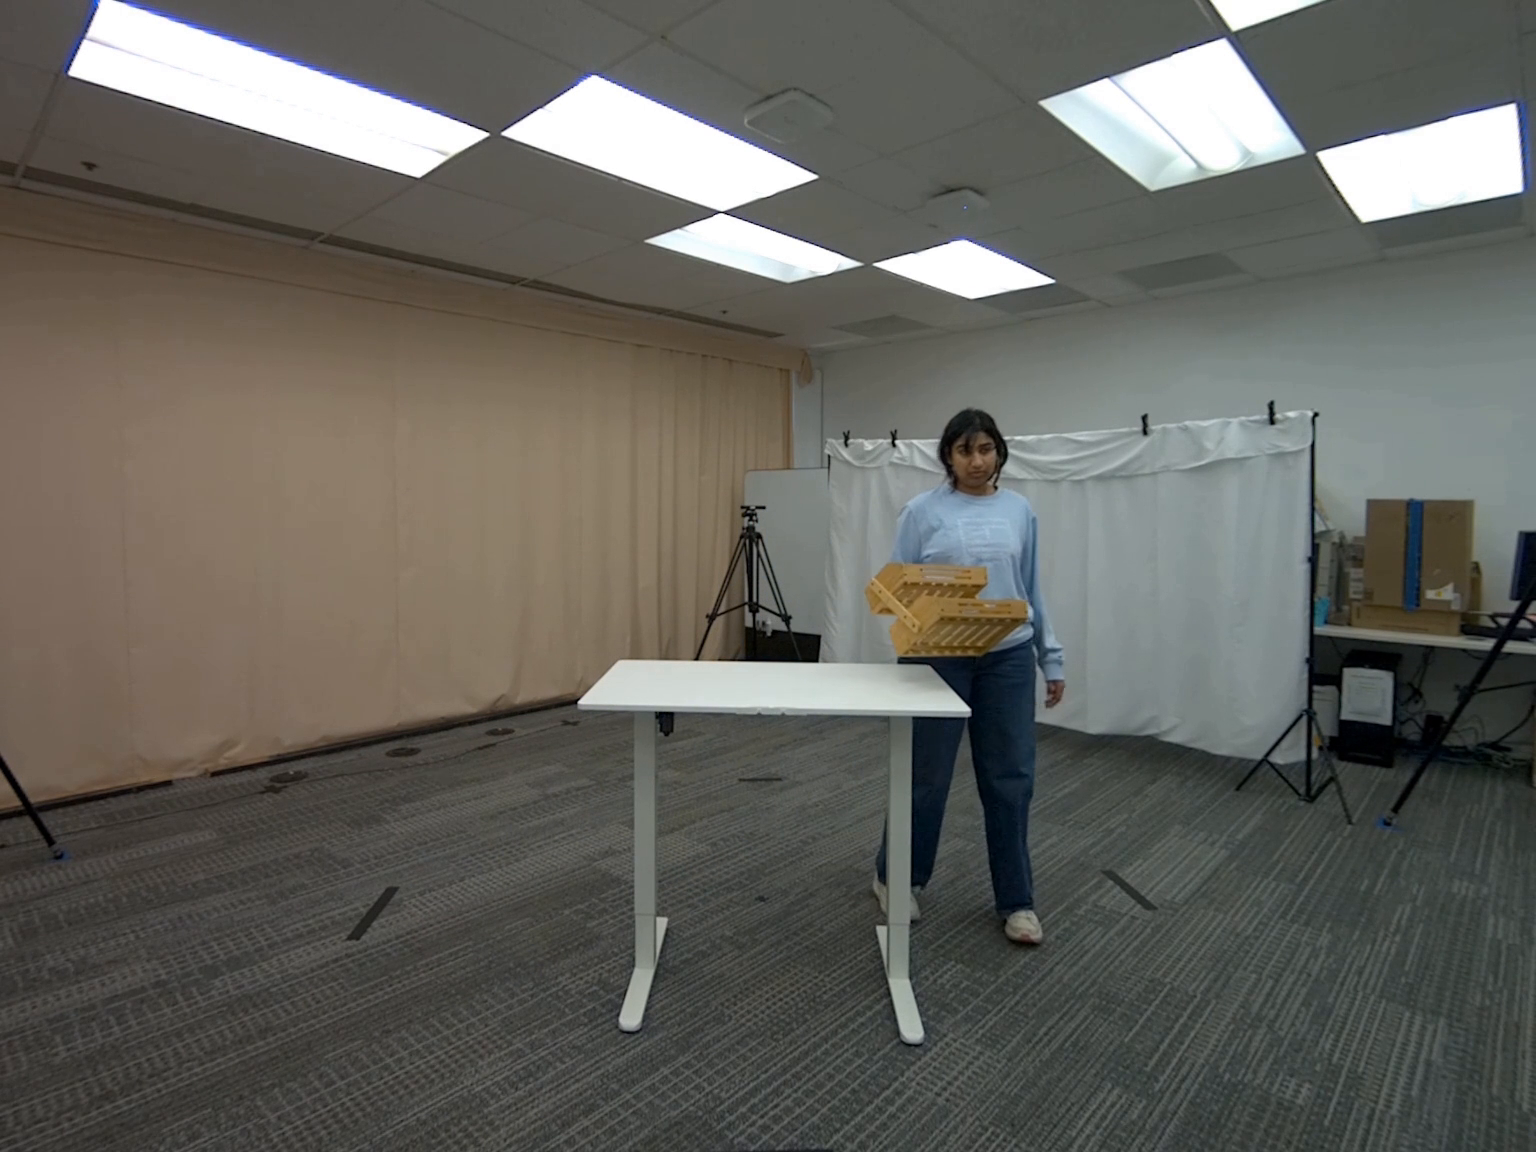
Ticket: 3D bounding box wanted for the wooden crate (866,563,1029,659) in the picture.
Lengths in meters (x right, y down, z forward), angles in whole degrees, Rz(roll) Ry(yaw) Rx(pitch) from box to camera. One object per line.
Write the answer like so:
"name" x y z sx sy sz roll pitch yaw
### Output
"wooden crate" 0.513 0.072 2.465 0.317 0.280 0.302 3 -36 -25
